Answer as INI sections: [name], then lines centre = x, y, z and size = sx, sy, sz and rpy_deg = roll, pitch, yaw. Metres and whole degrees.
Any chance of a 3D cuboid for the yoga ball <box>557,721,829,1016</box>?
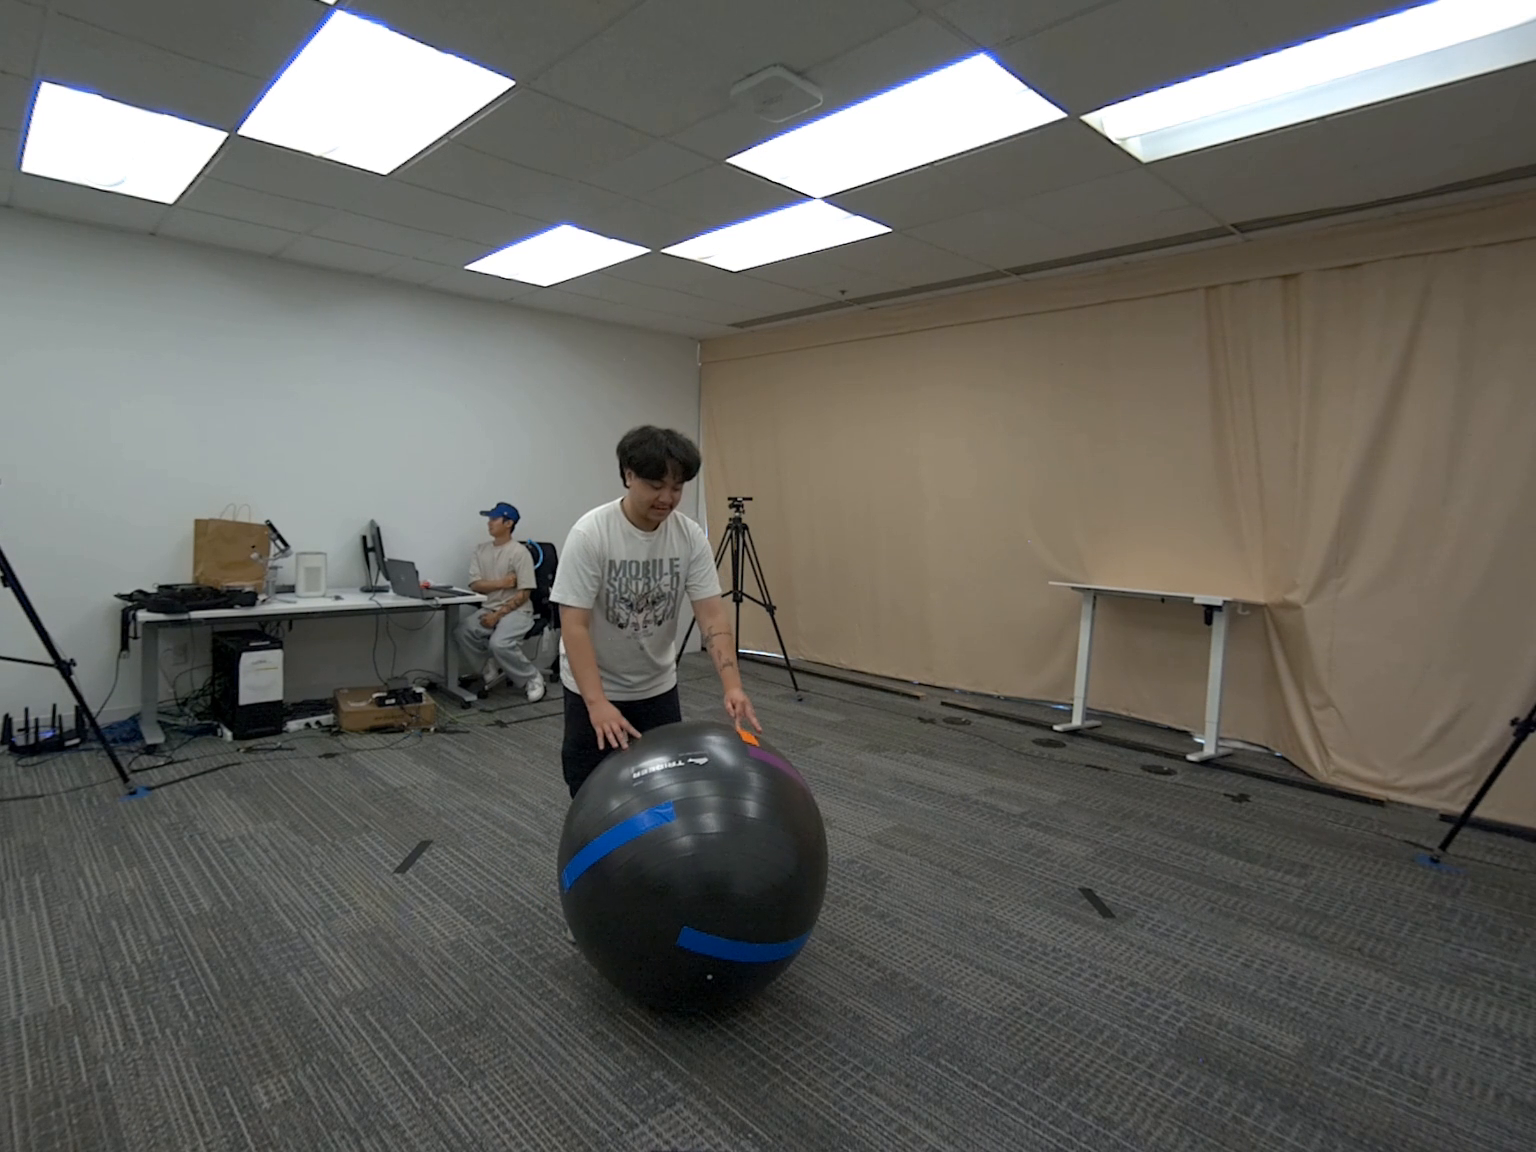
[yoga ball]
centre = -0.213, 0.805, 2.365
size = 0.757, 0.756, 0.761
rpy_deg = 1, 4, -1
